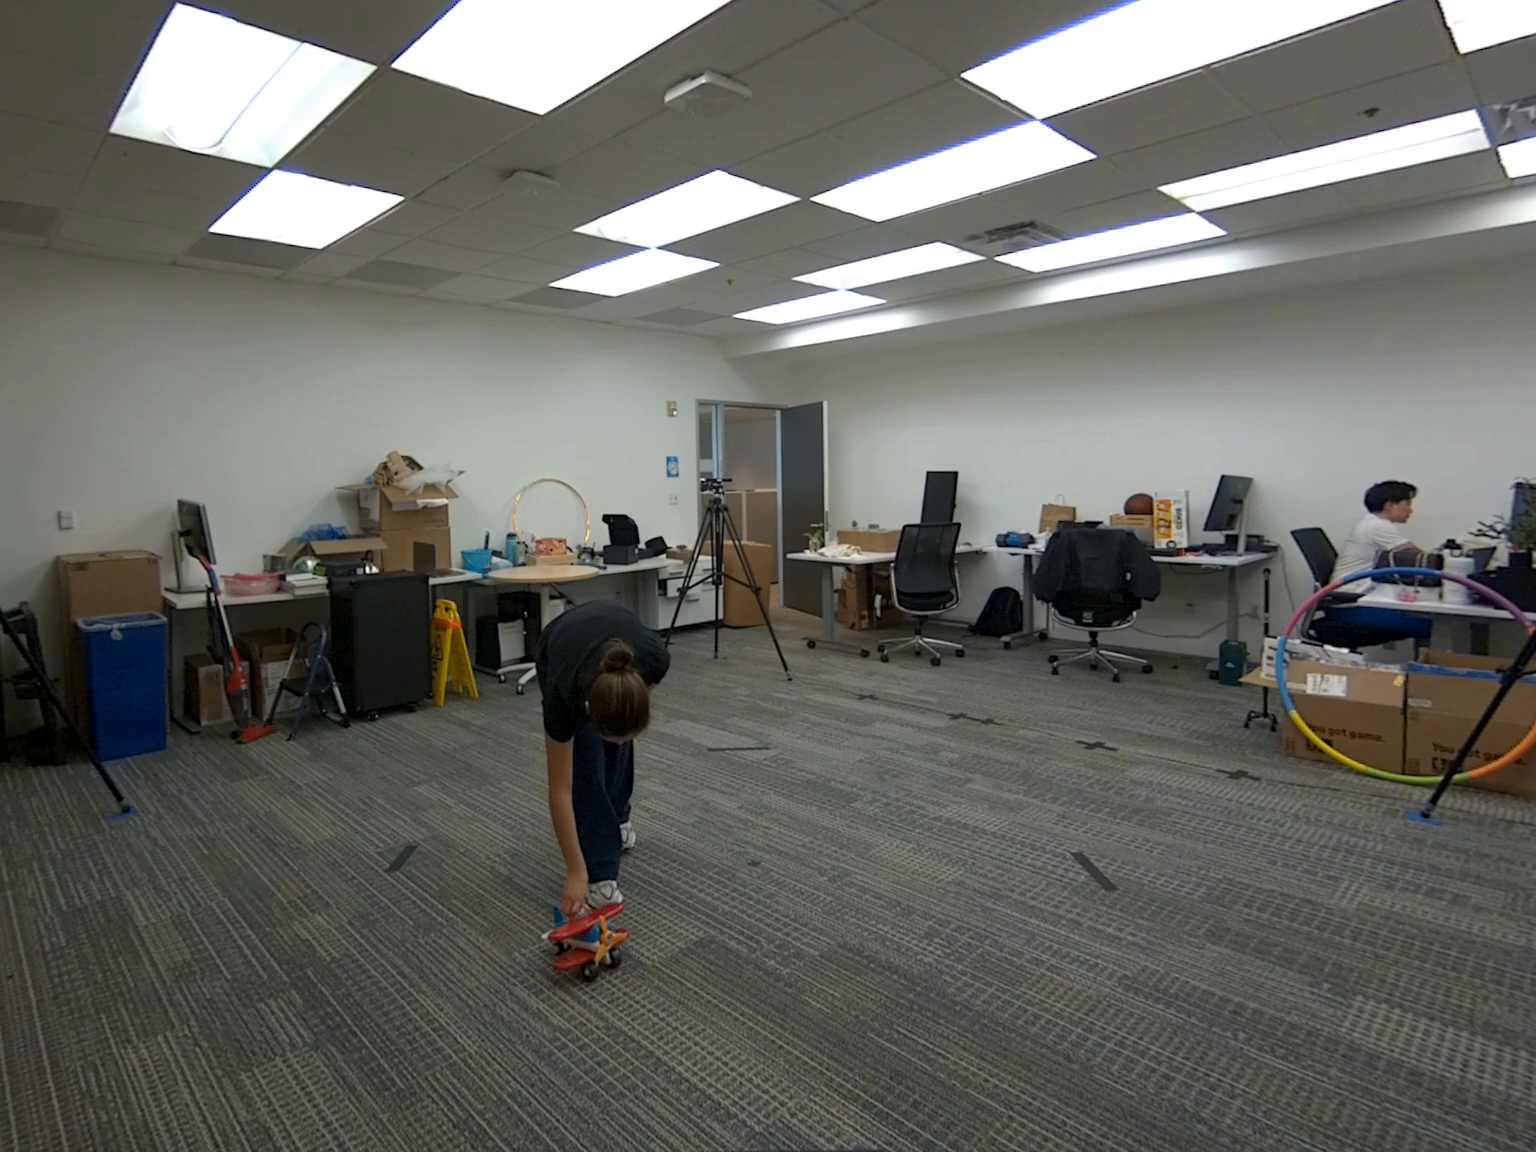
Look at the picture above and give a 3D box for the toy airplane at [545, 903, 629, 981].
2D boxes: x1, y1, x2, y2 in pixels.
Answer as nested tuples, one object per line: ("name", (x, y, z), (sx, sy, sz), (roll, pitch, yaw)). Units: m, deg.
("toy airplane", (-0.545, 1.055, 2.478), (0.263, 0.156, 0.248), (3, 6, 14))
